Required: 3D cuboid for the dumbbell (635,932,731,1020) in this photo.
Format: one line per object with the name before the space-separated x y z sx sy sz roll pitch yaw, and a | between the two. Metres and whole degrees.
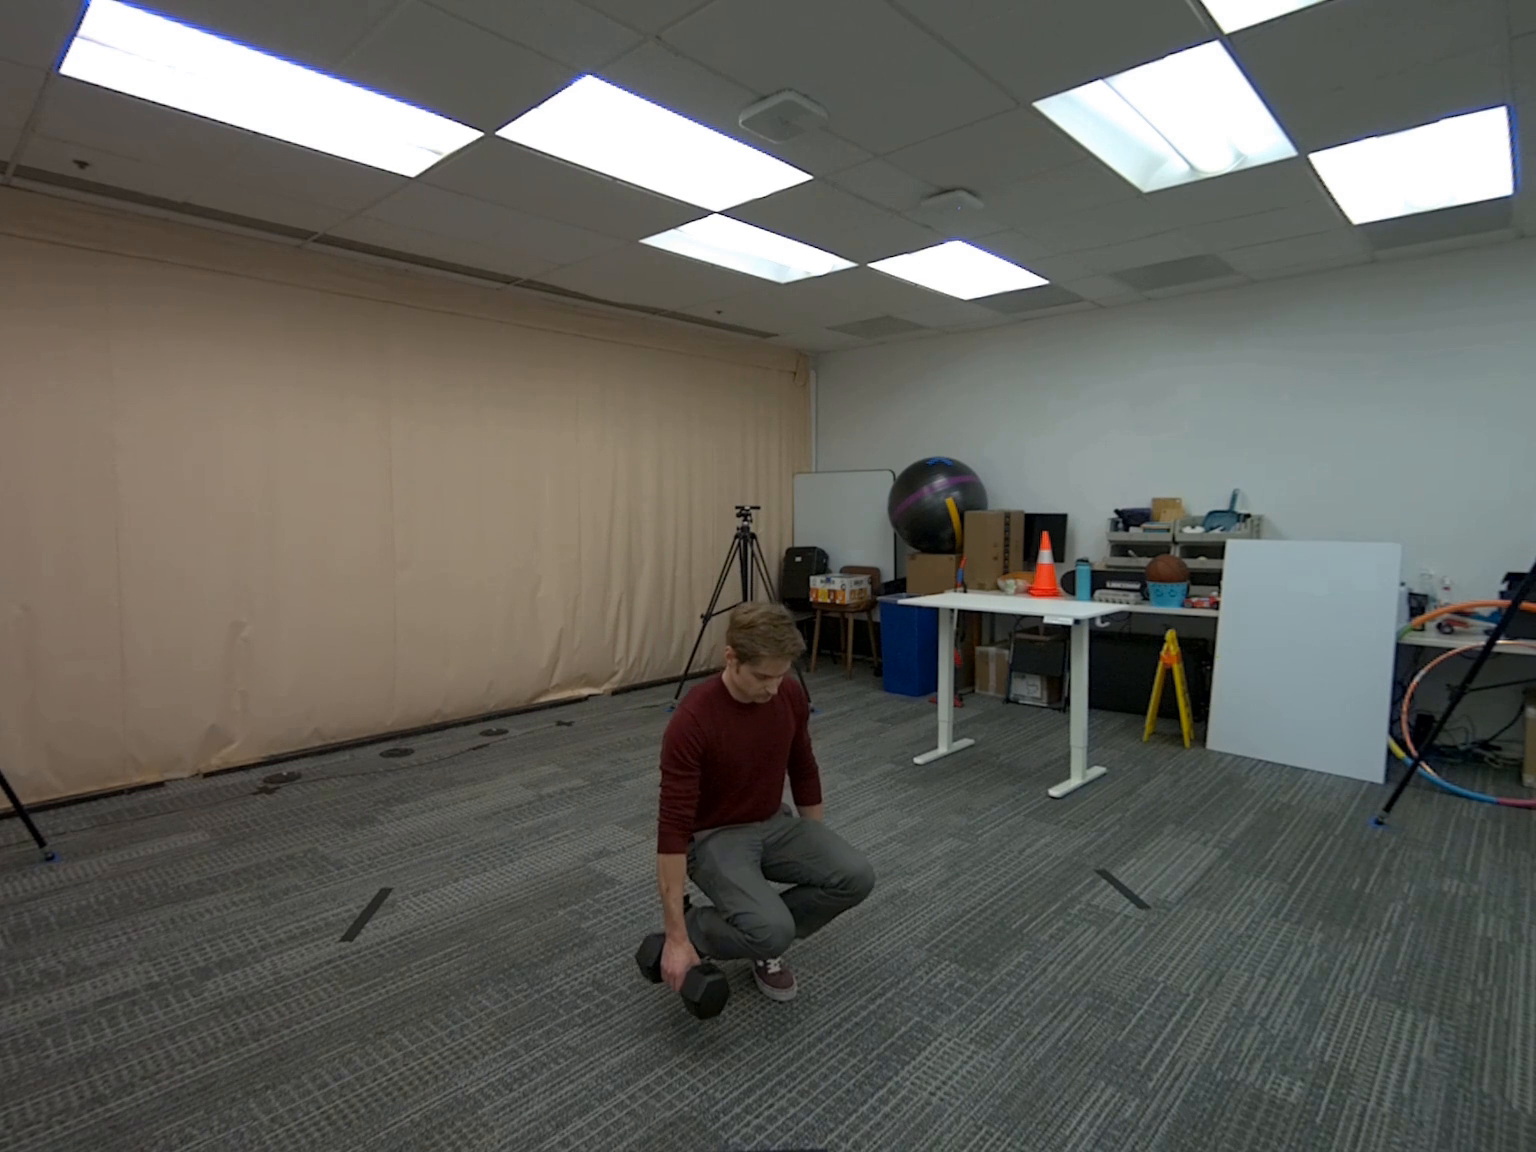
dumbbell | -0.222 1.040 2.206 0.303 0.123 0.105 4 -33 51
